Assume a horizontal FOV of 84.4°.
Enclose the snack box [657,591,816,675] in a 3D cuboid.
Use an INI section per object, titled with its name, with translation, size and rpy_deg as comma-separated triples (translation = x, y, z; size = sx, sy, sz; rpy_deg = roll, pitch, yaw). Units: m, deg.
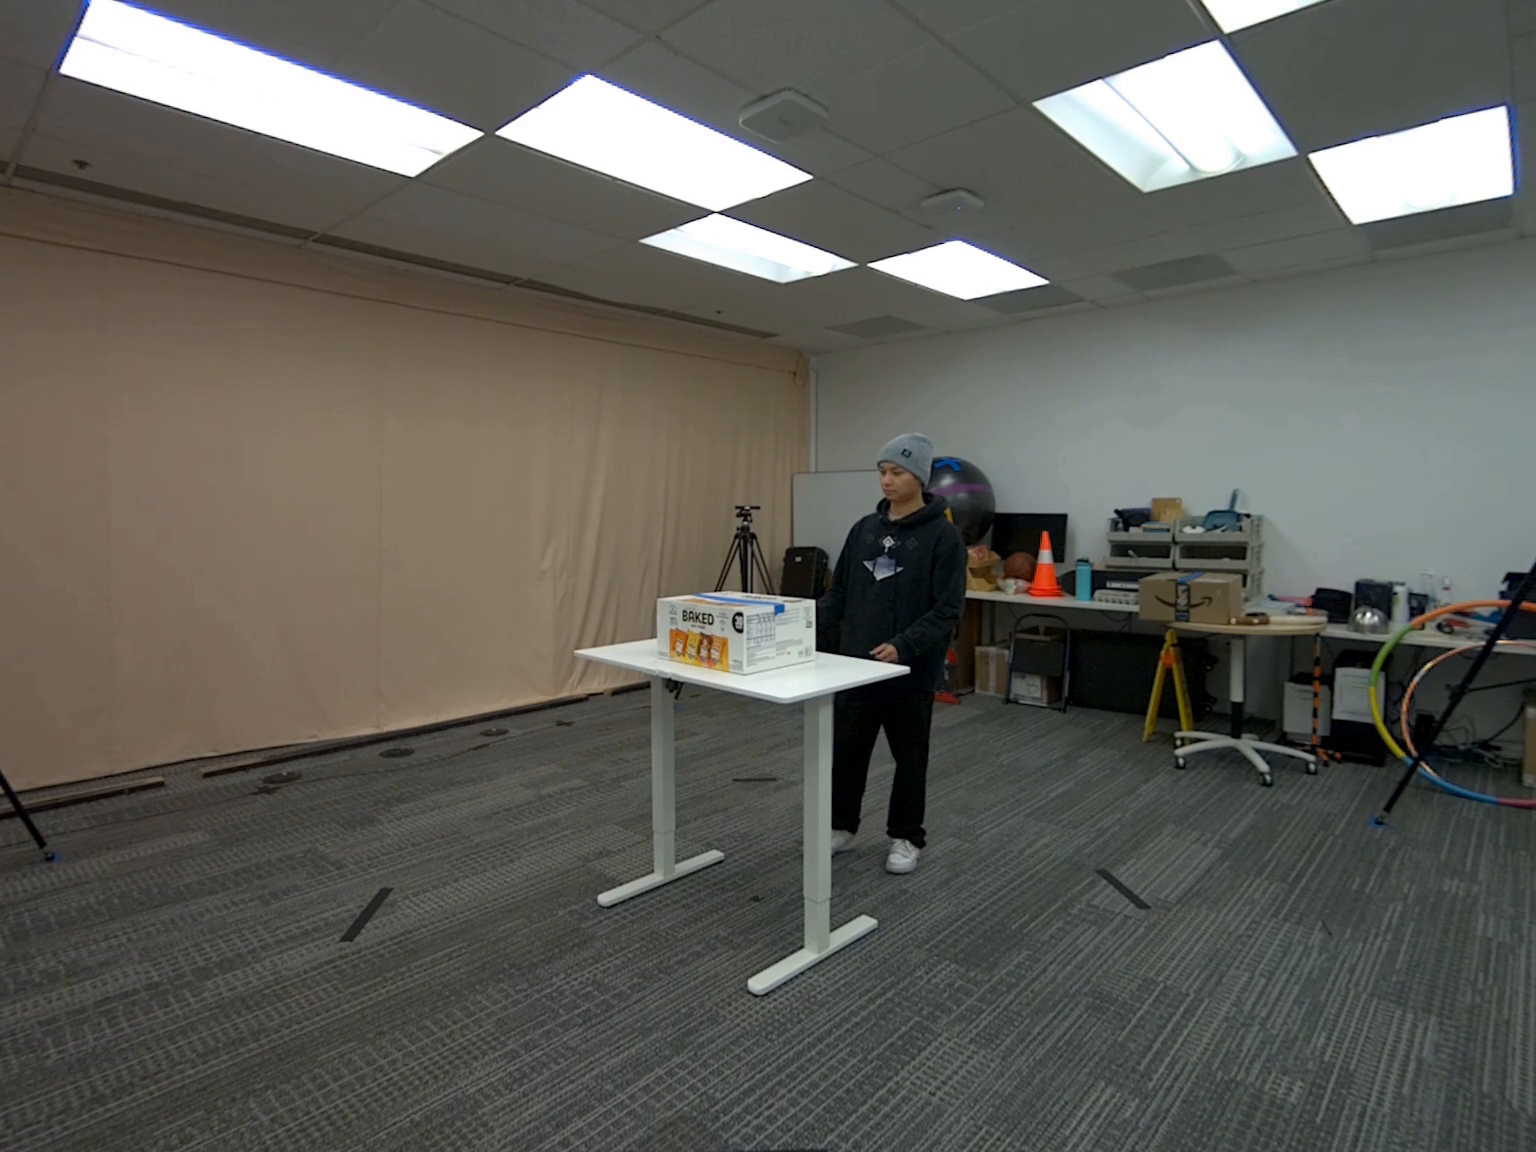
[snack box]
translation = -0.105, 0.178, 2.794
size = 0.419, 0.205, 0.330
rpy_deg = 5, 7, 43
